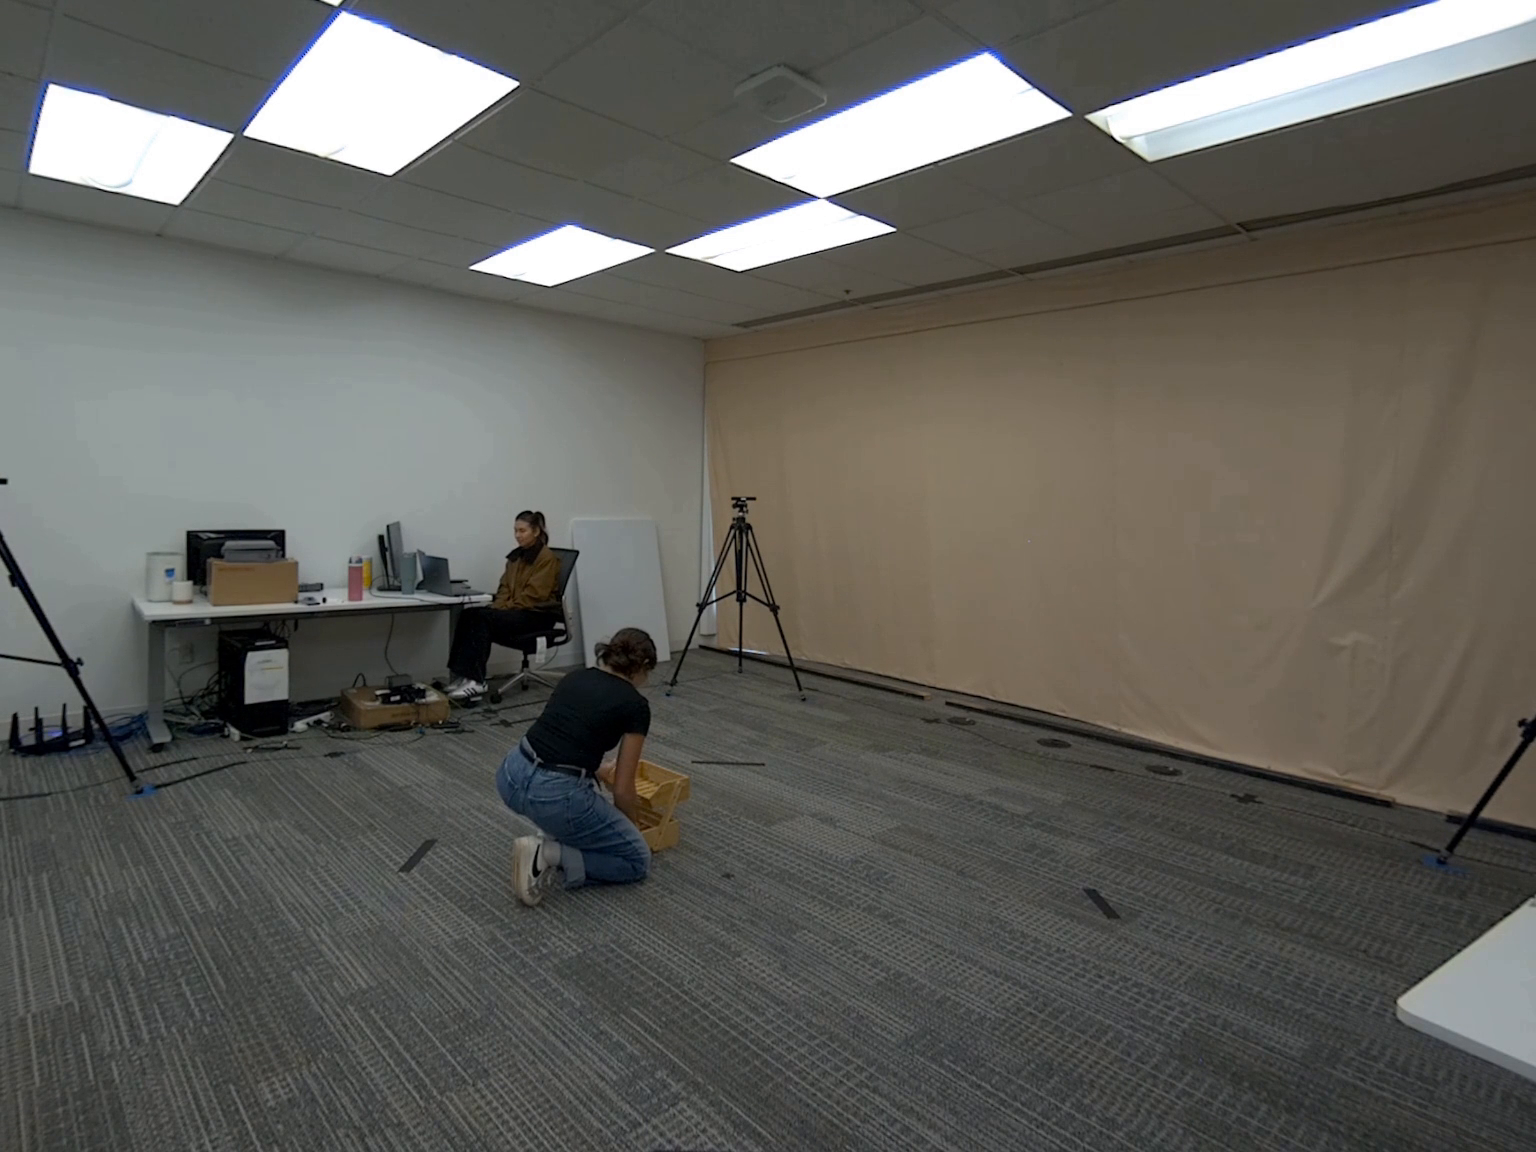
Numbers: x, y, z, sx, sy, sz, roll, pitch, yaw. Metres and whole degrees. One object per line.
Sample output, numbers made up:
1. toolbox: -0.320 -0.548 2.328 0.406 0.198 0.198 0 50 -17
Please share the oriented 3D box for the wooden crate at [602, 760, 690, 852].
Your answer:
1. wooden crate: -0.541 0.933 3.417 0.333 0.273 0.295 5 5 44
